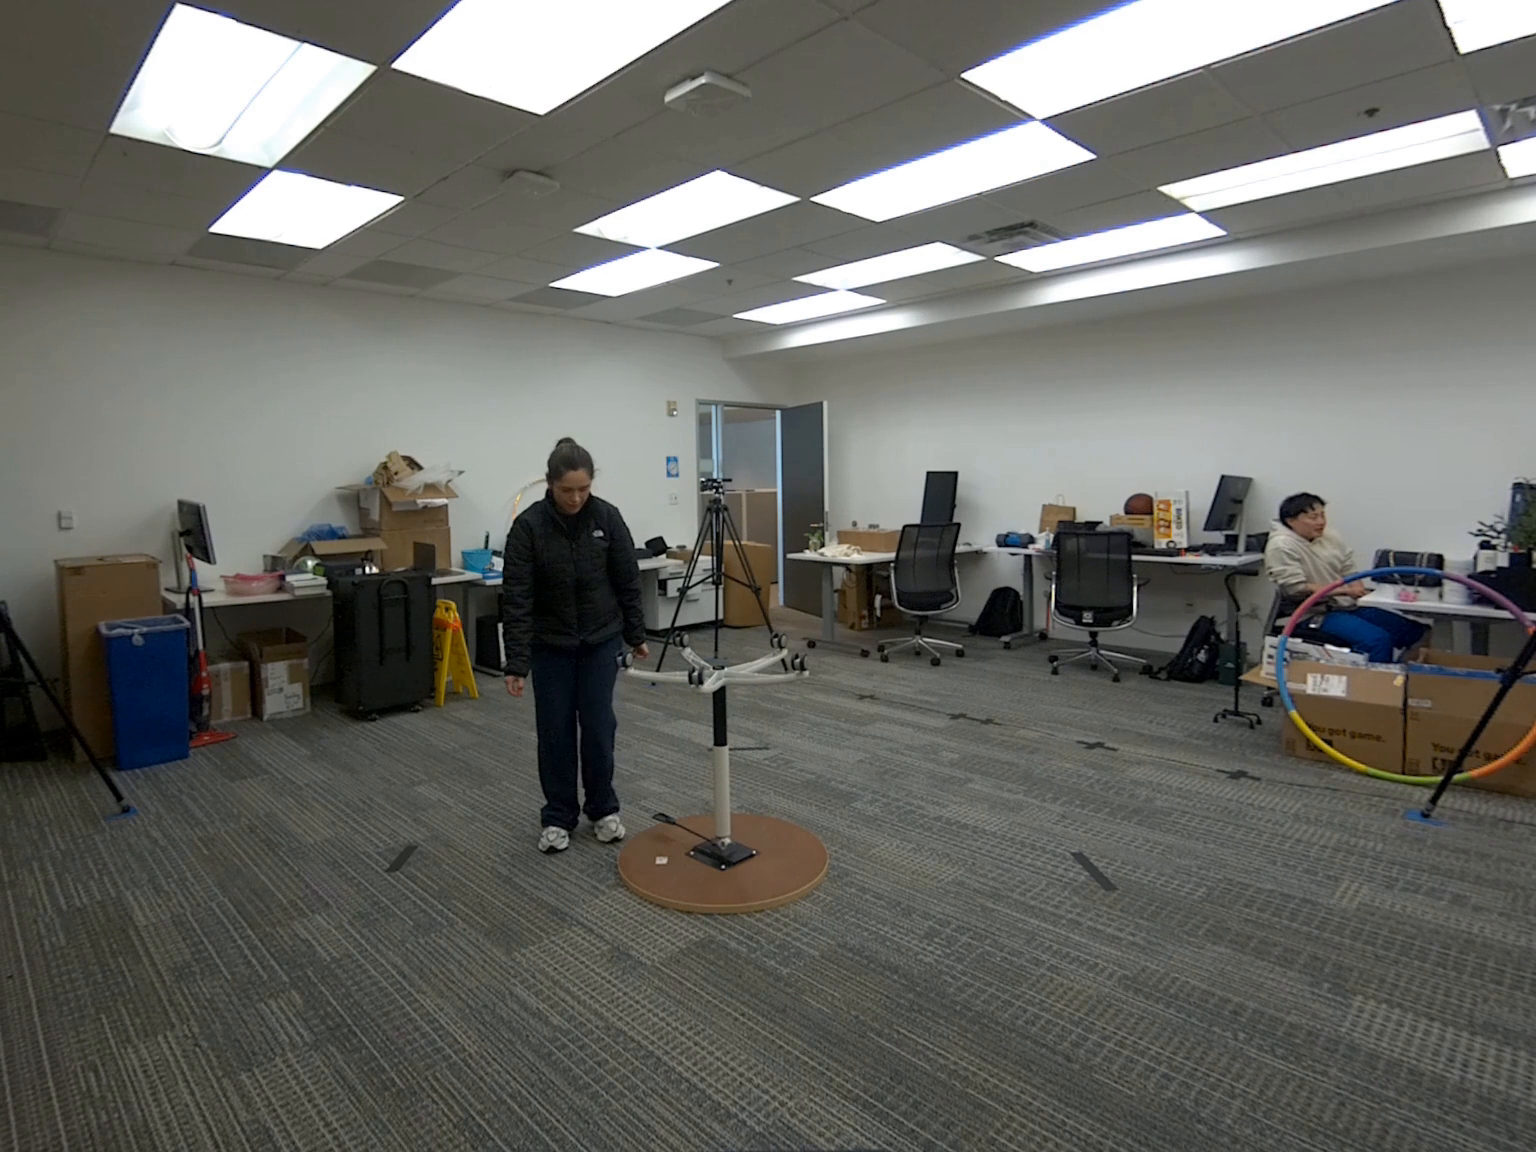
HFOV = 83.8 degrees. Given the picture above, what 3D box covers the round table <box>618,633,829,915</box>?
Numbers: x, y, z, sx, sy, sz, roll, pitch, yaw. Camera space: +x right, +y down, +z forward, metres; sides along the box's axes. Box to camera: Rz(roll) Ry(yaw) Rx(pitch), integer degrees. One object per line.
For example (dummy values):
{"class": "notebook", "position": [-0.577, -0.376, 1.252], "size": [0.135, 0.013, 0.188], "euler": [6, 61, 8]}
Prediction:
{"class": "round table", "position": [-0.169, 0.641, 3.120], "size": [0.784, 0.783, 0.789], "euler": [0, 5, -2]}
